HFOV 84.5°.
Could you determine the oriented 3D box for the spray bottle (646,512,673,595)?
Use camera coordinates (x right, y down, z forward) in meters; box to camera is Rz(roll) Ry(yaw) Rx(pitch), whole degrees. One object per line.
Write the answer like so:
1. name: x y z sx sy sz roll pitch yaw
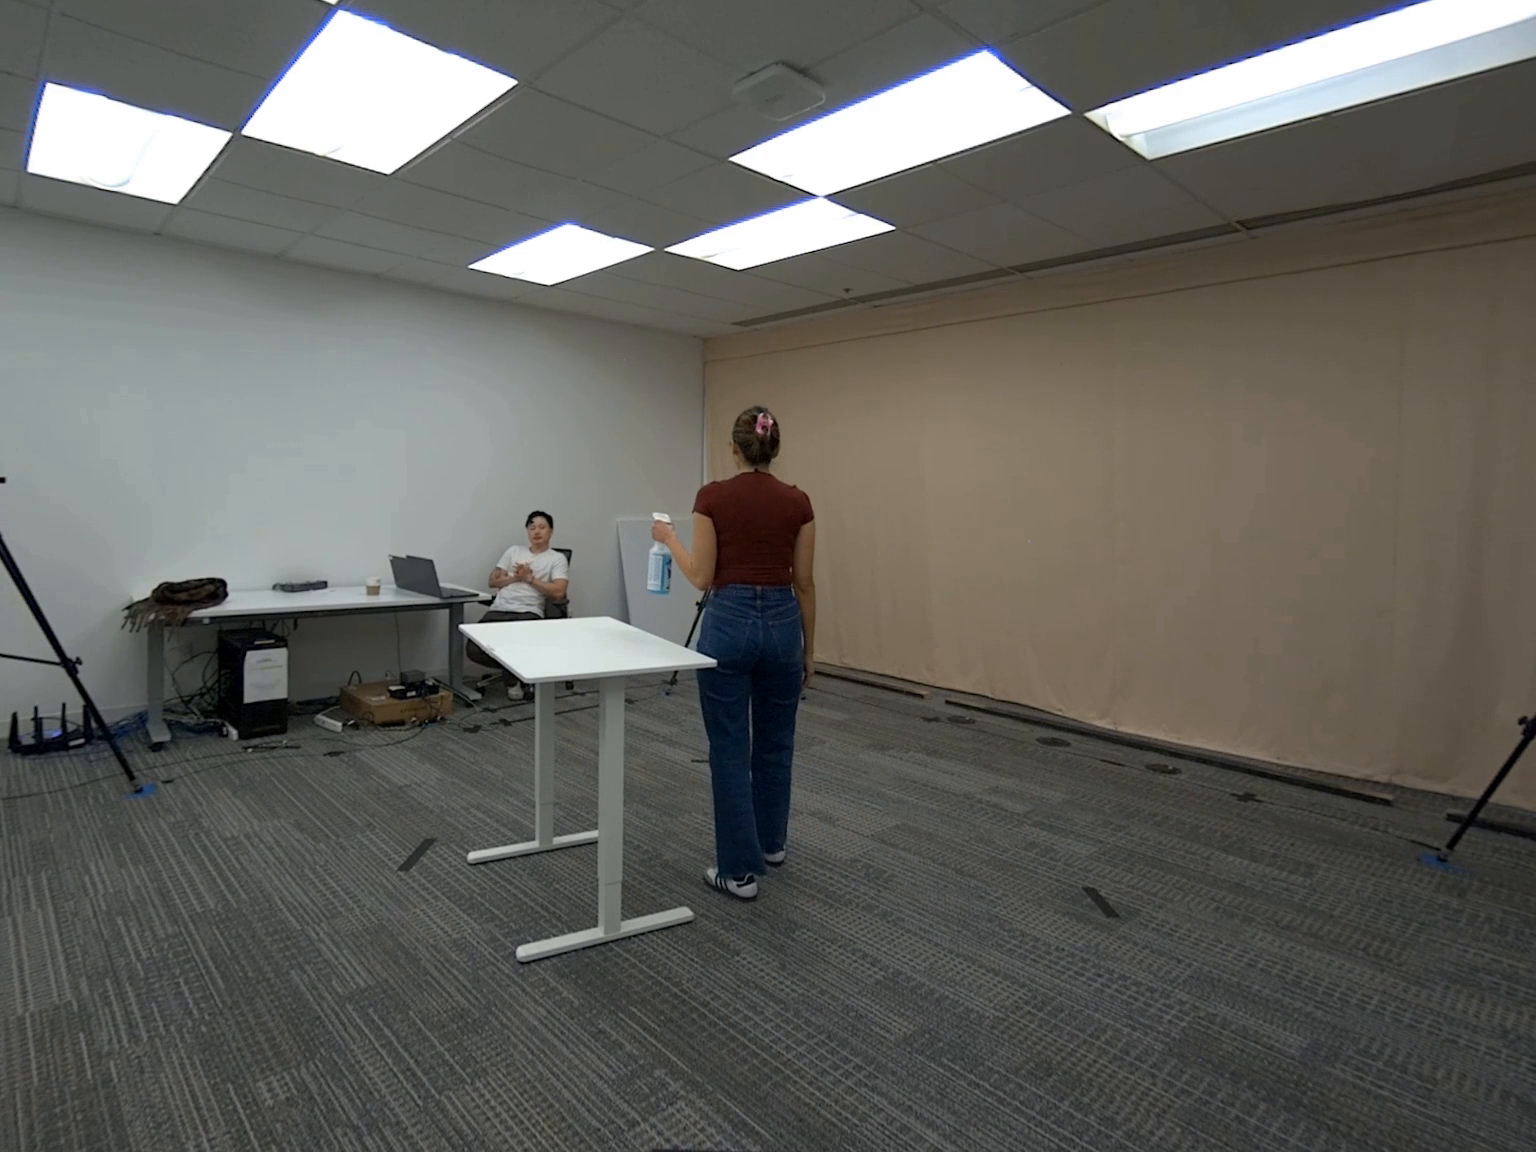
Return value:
1. spray bottle: -0.401 -0.084 3.135 0.085 0.297 0.092 4 3 -24
